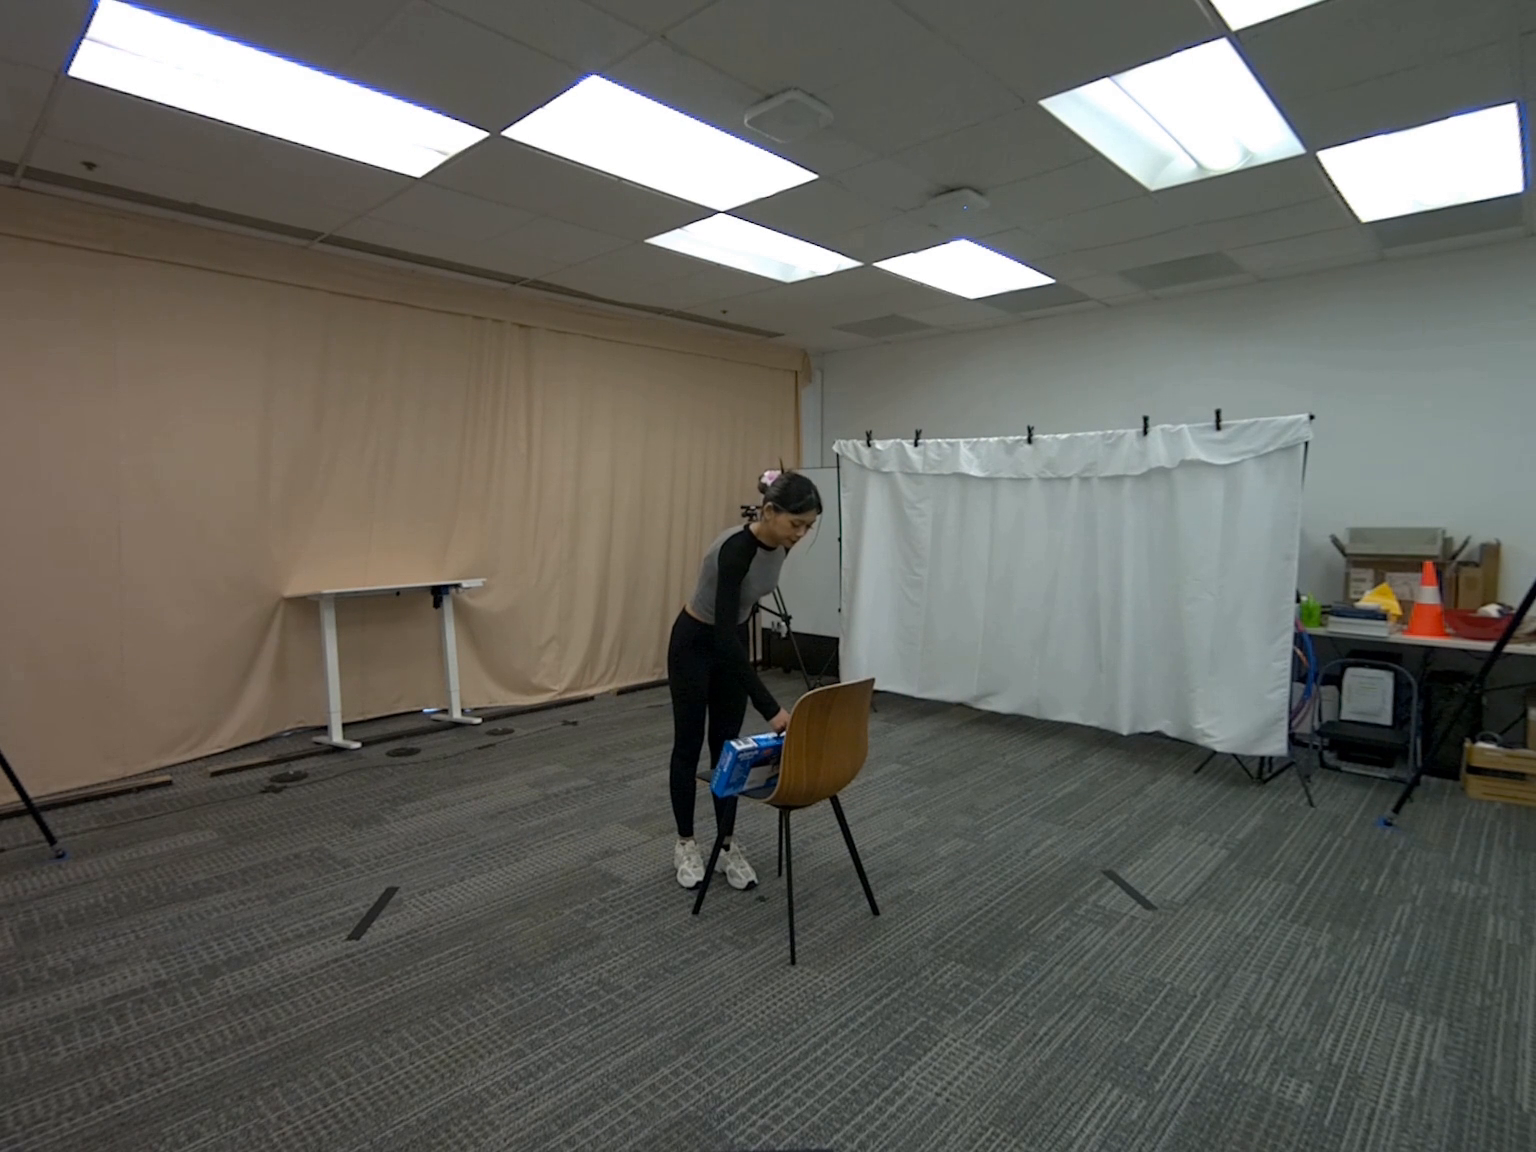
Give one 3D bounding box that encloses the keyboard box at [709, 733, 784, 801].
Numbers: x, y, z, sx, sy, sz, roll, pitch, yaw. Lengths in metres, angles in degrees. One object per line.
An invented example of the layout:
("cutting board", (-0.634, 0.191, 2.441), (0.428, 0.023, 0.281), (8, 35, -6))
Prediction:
("keyboard box", (0.016, 0.595, 2.719), (0.423, 0.175, 0.061), (1, 25, -44))
